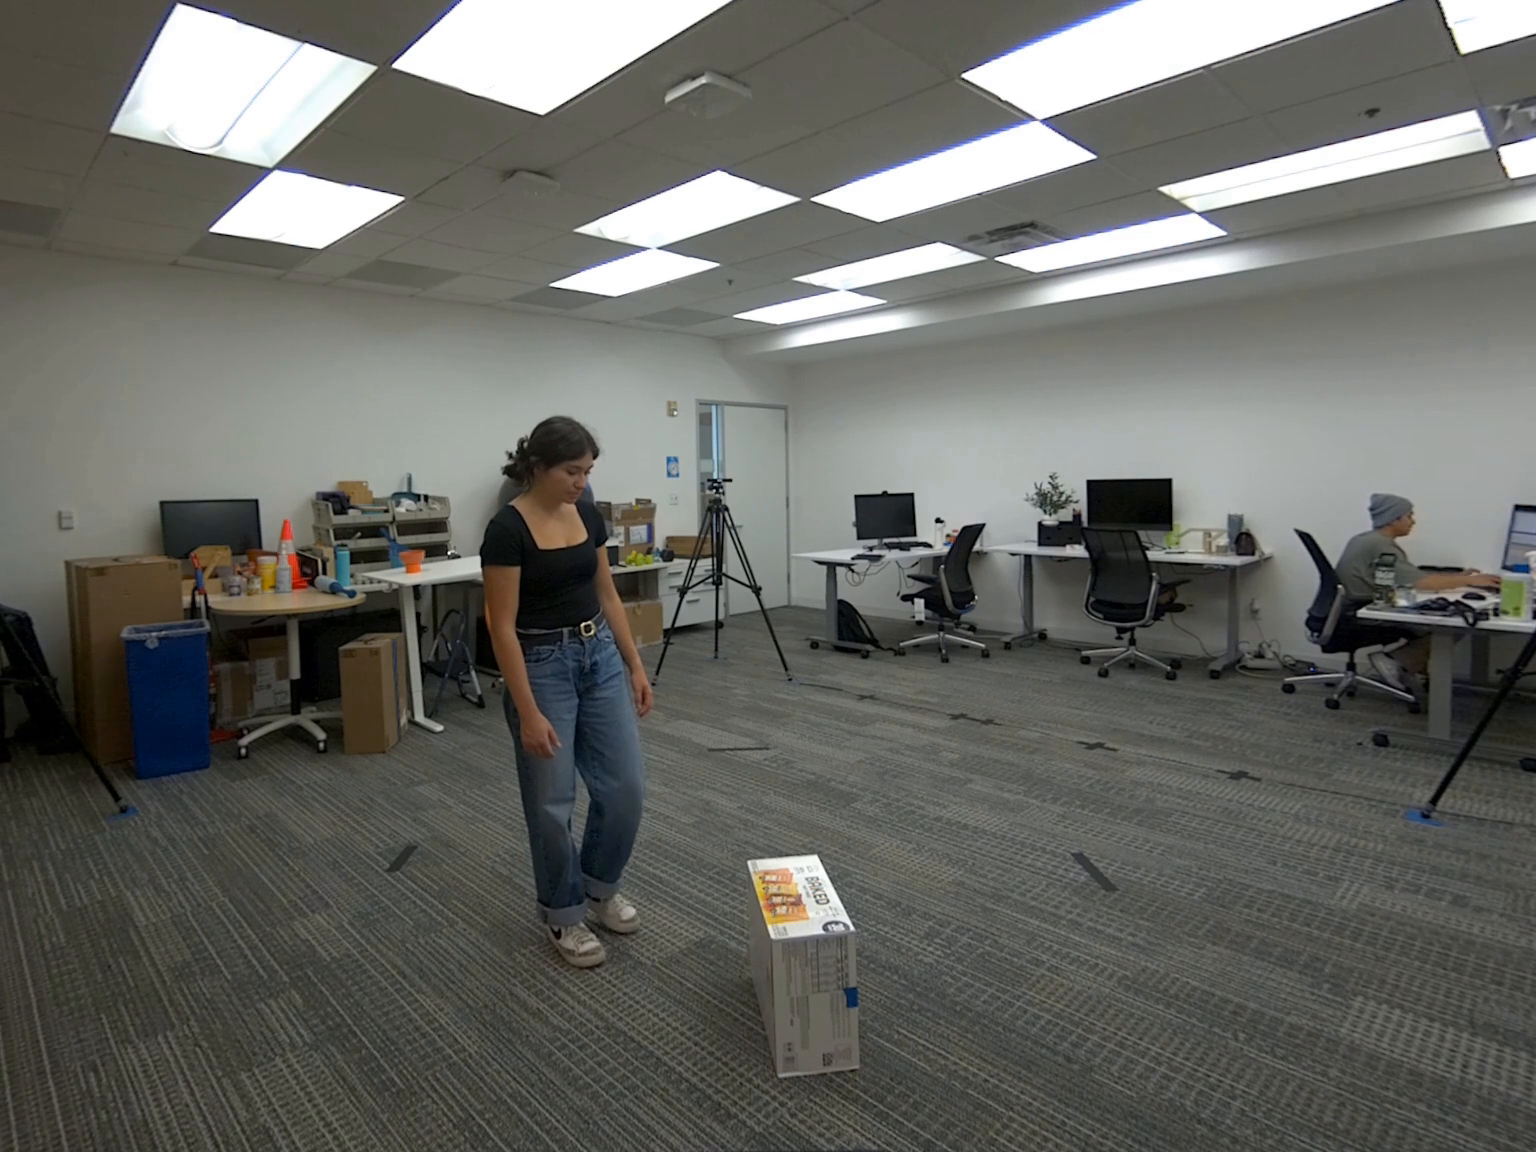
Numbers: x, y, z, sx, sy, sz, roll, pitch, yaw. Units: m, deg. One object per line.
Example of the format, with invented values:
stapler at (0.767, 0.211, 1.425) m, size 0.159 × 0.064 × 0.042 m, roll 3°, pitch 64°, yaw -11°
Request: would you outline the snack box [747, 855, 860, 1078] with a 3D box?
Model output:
snack box at (0.085, 0.980, 2.191) m, size 0.204 × 0.339 × 0.410 m, roll -4°, pitch 5°, yaw -8°
